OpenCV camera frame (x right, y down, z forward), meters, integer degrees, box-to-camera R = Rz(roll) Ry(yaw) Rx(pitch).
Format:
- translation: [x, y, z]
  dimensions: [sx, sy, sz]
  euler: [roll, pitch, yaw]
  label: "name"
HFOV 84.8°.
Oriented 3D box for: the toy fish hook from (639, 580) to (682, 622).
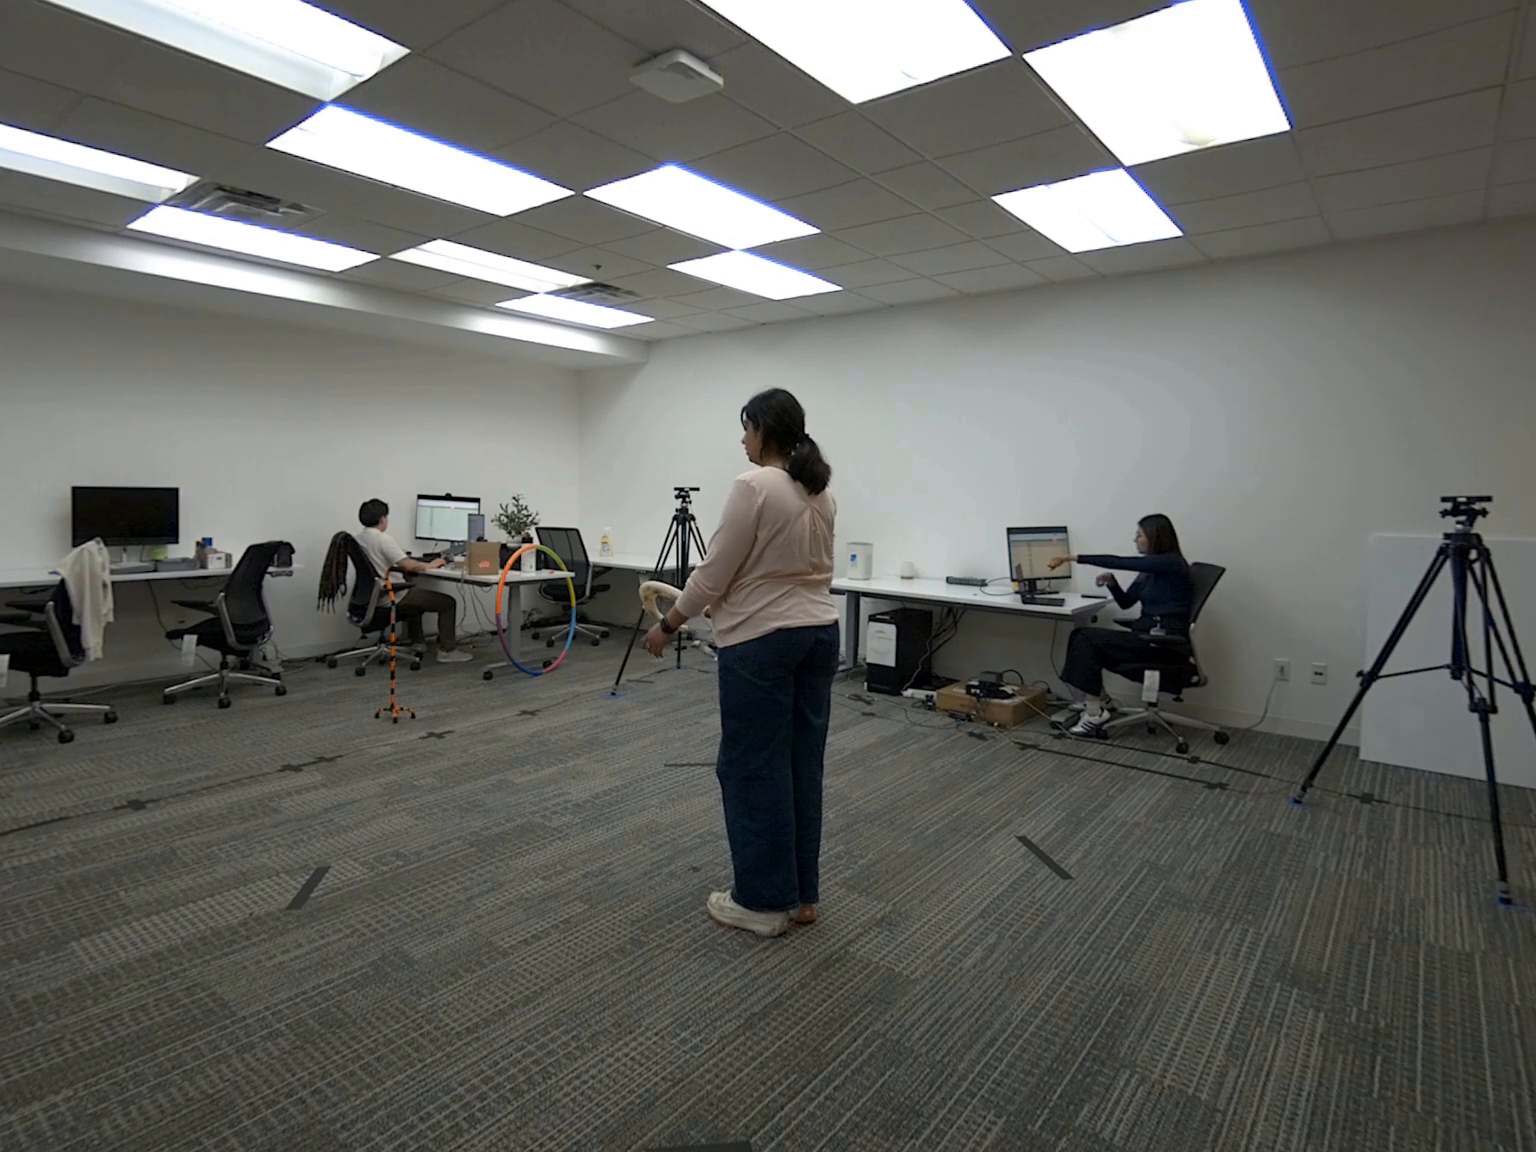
- translation: [-0.272, 0.151, 3.143]
  dimensions: [0.523, 0.217, 0.048]
  euler: [17, 50, 27]
  label: "toy fish hook"
